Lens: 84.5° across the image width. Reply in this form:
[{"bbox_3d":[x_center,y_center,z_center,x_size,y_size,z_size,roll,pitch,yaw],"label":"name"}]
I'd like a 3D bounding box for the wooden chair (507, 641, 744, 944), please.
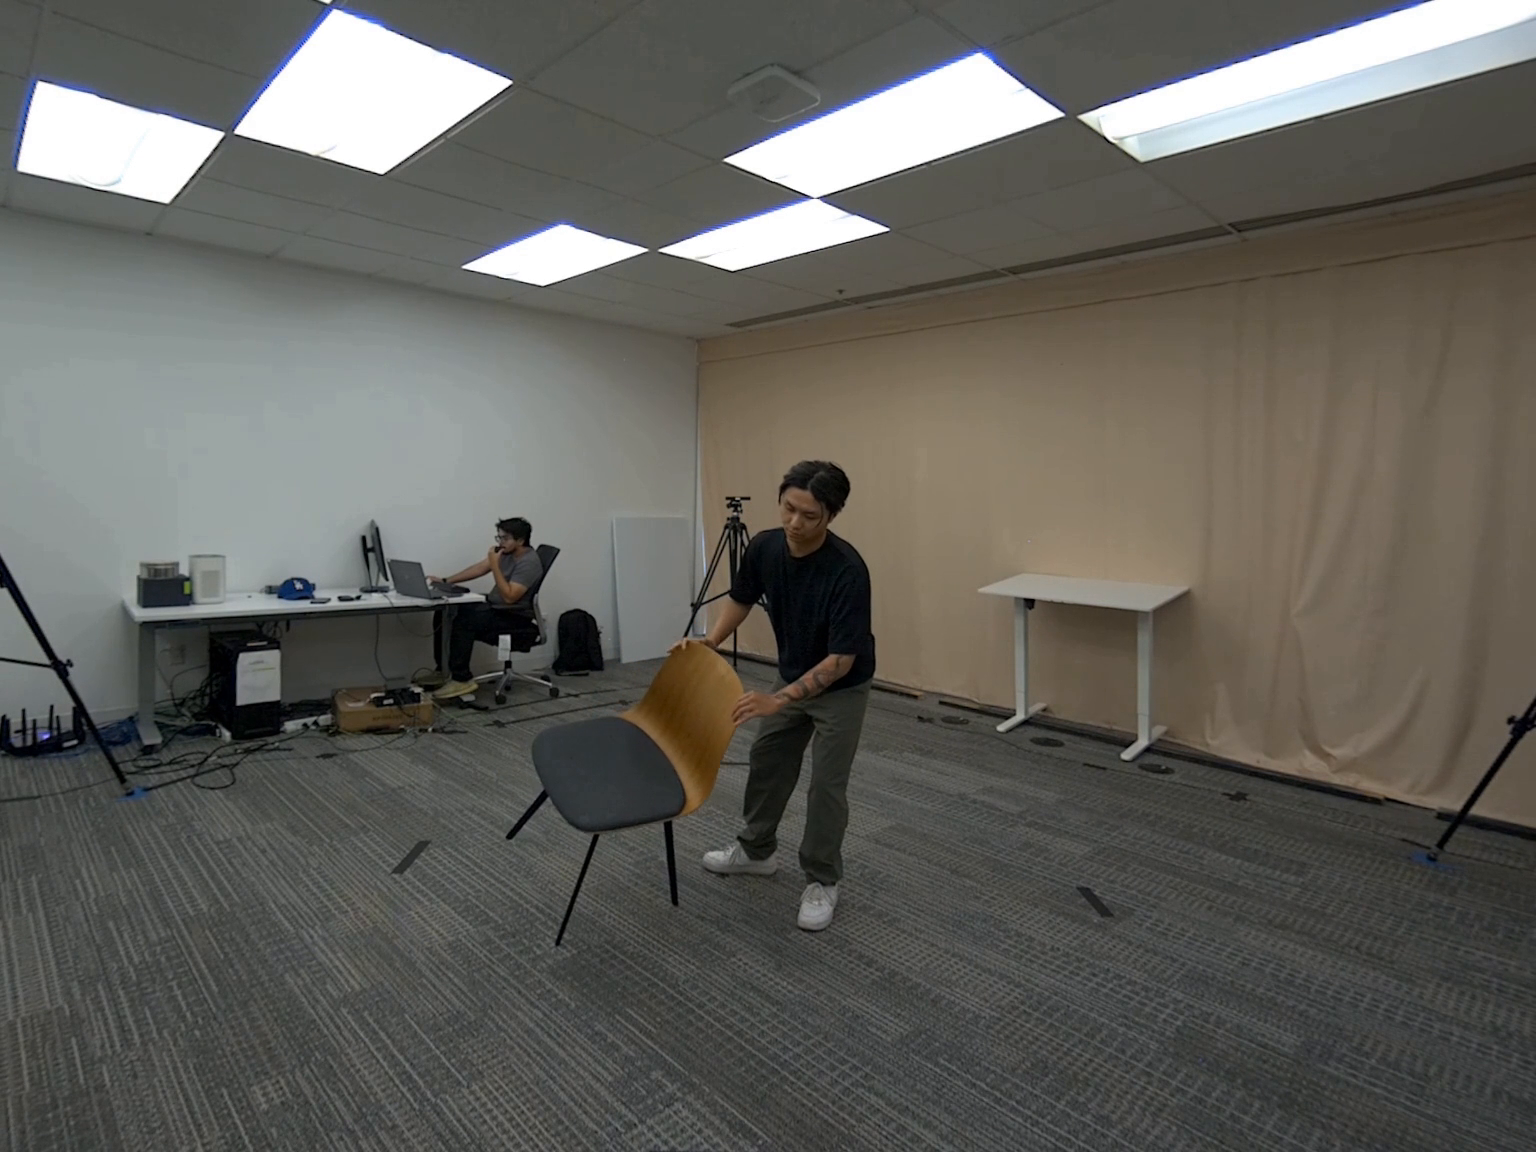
[{"bbox_3d":[-0.477,0.656,2.696,0.510,0.871,0.494,4,29,-42],"label":"wooden chair"}]
